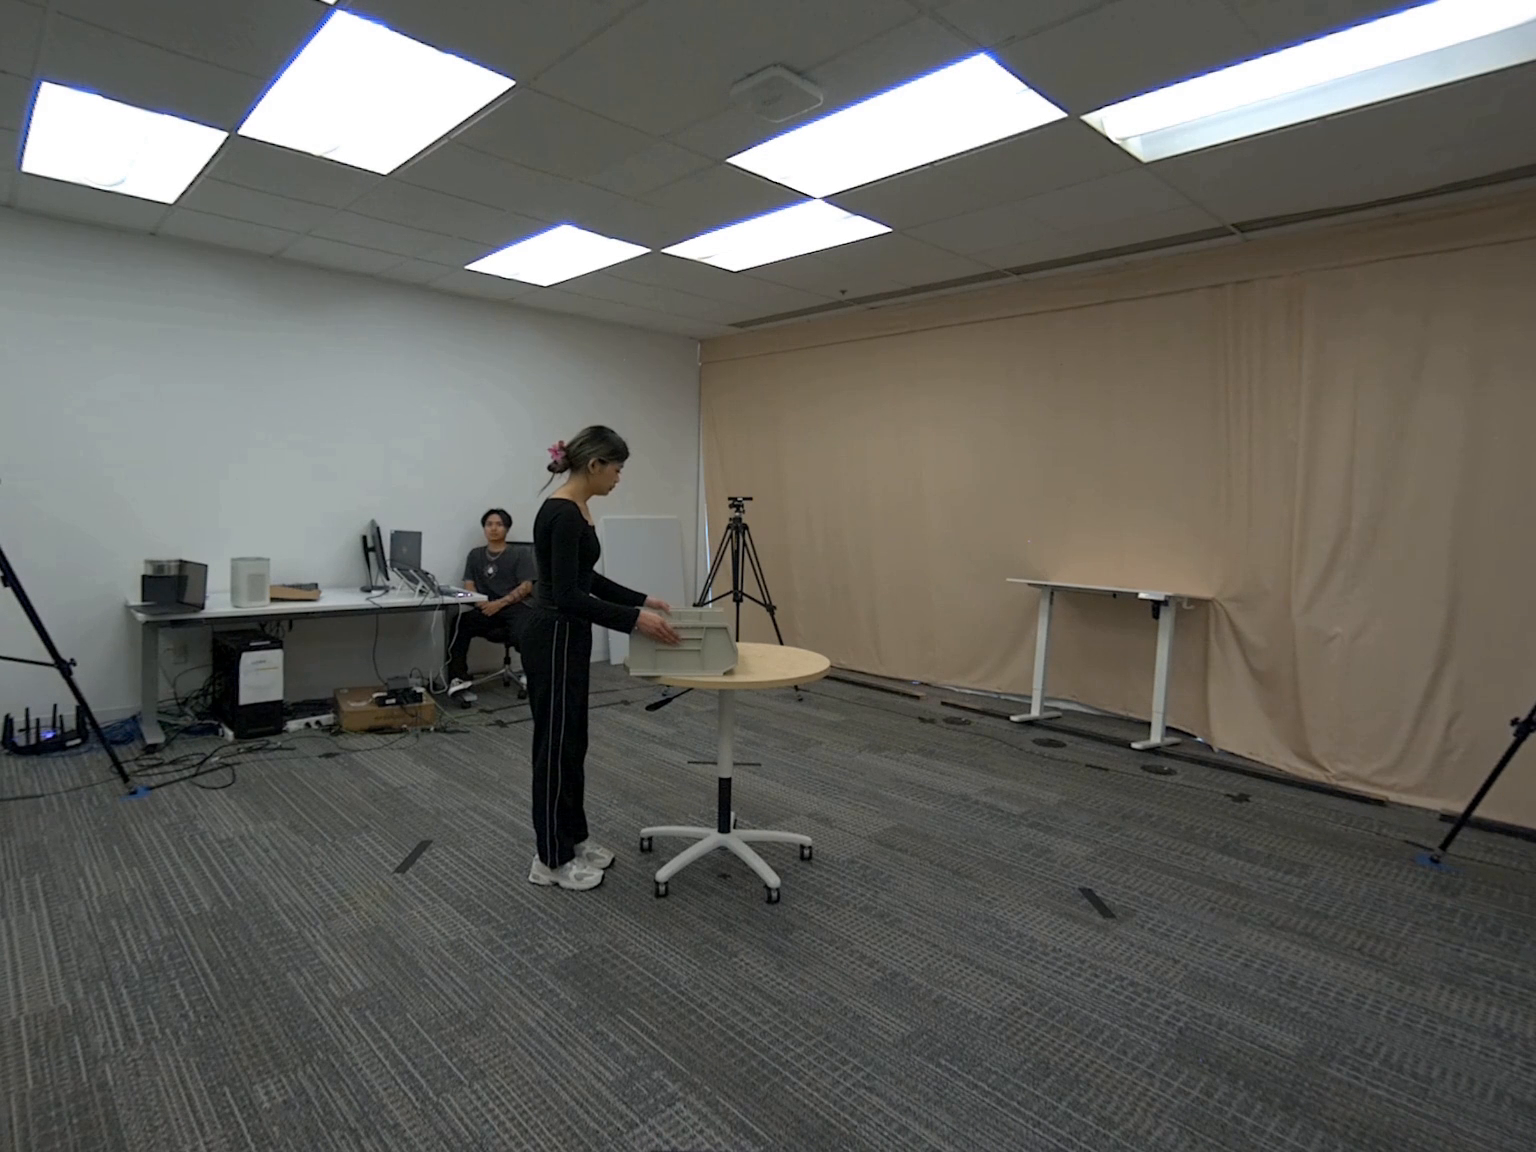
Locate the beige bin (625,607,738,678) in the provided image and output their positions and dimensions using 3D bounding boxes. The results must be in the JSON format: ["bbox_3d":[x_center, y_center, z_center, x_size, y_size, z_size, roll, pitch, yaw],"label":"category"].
[{"bbox_3d":[-0.307,0.230,3.025,0.377,0.188,0.425,1,6,-3],"label":"beige bin"}]
